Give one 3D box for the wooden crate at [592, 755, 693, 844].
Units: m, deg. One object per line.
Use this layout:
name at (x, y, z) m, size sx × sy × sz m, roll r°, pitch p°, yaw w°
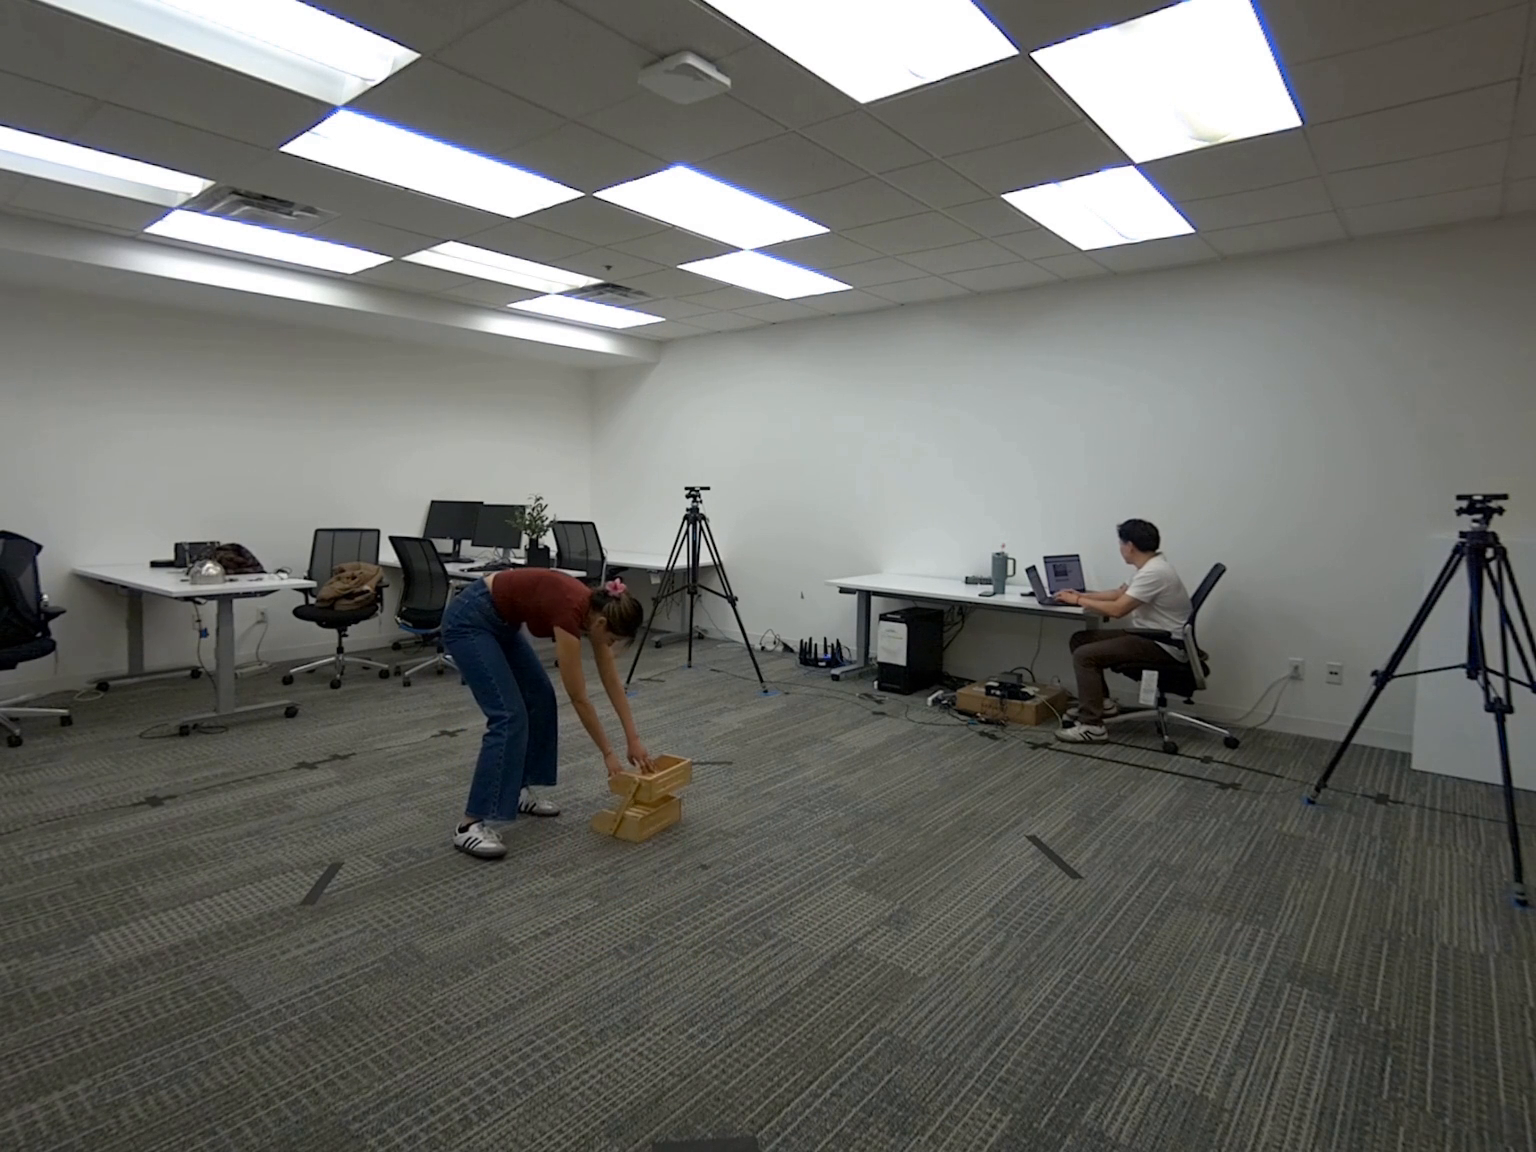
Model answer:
wooden crate at (-0.544, 0.892, 3.492) m, size 0.311 × 0.272 × 0.316 m, roll 3°, pitch 5°, yaw 30°
